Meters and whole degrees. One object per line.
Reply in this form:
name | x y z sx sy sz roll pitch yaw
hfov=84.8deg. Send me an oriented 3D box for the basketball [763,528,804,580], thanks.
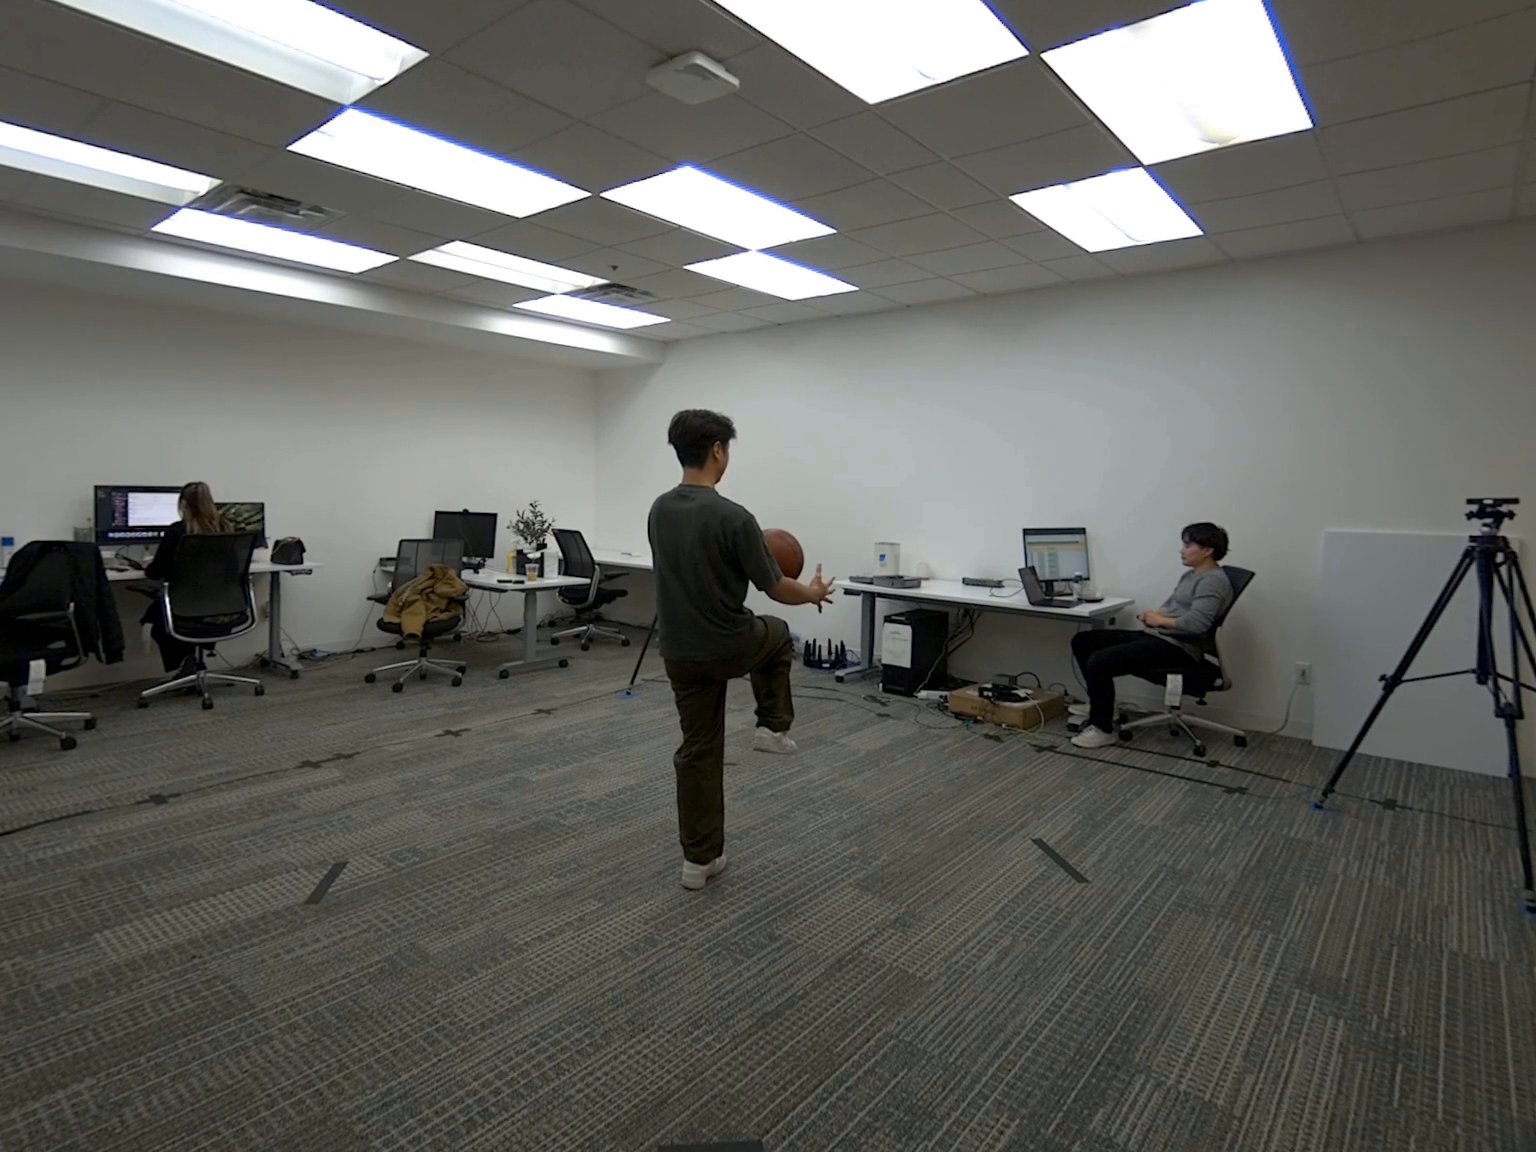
basketball | 0.016 -0.061 3.265 0.235 0.235 0.237 1 4 -2
